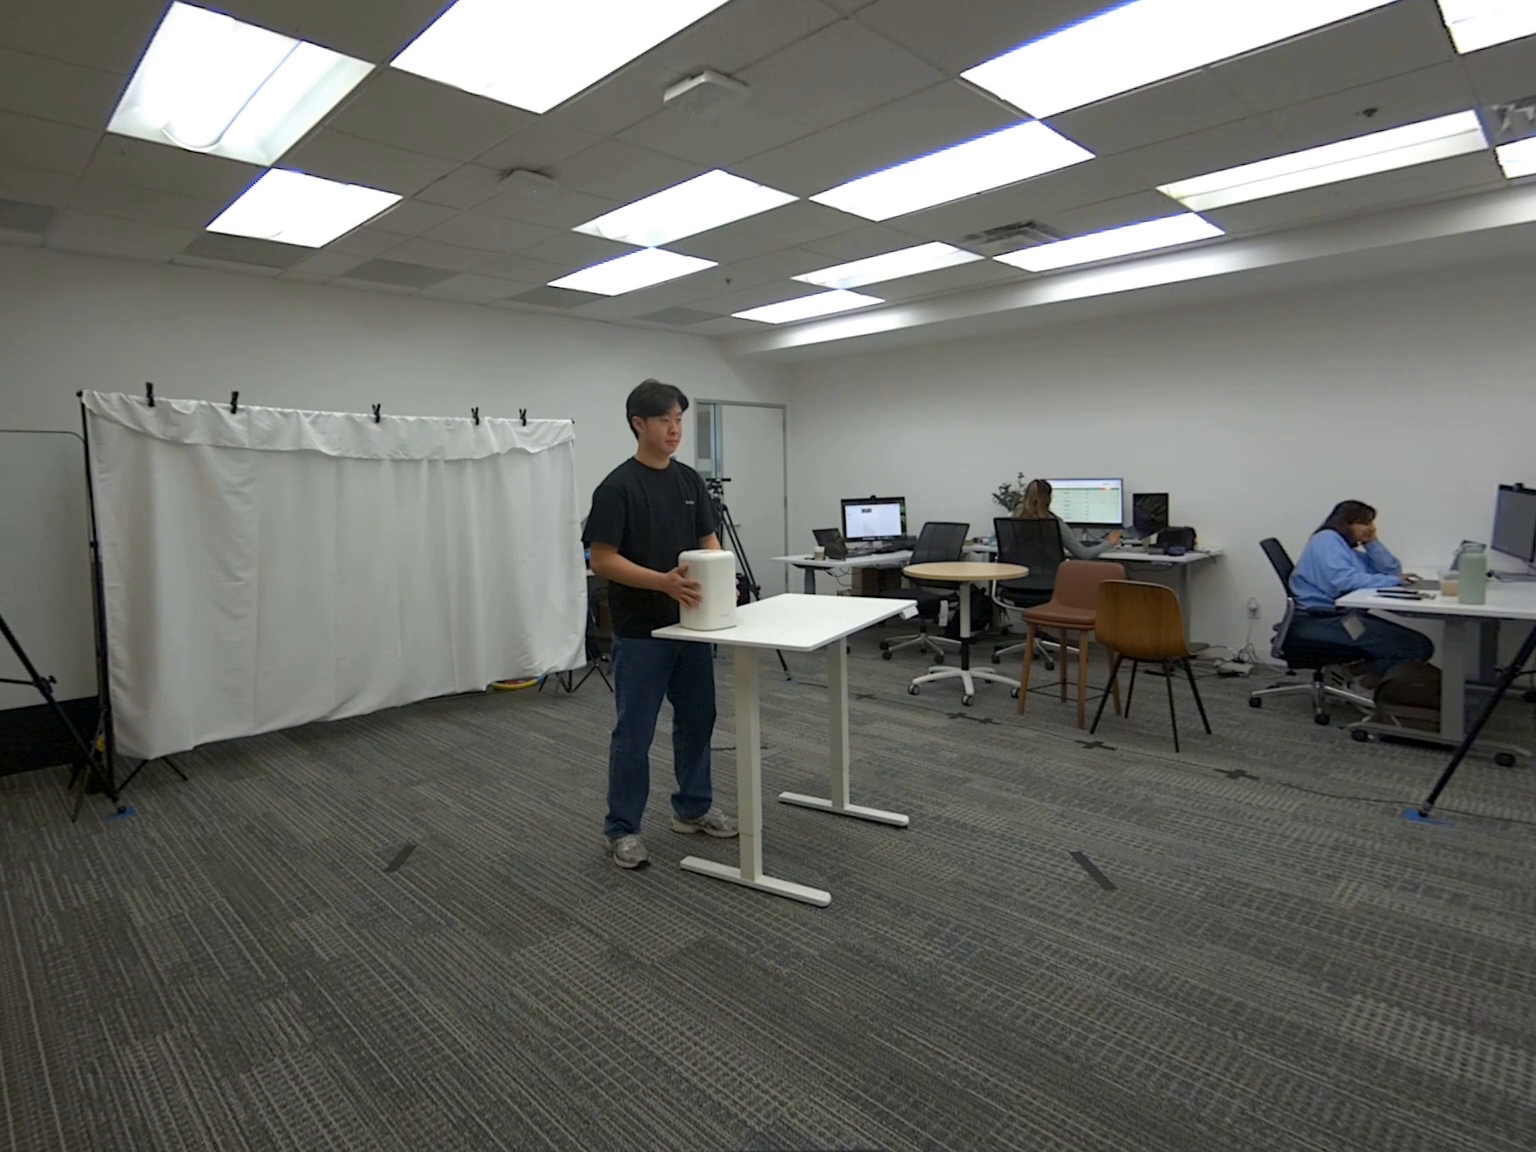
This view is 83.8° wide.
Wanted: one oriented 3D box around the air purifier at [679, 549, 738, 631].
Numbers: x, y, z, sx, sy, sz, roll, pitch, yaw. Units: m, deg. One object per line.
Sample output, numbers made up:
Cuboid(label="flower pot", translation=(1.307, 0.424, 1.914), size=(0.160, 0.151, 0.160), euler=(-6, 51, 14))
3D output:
Cuboid(label="air purifier", translation=(-0.211, 0.045, 2.992), size=(0.167, 0.264, 0.177), euler=(-7, 6, -43))
